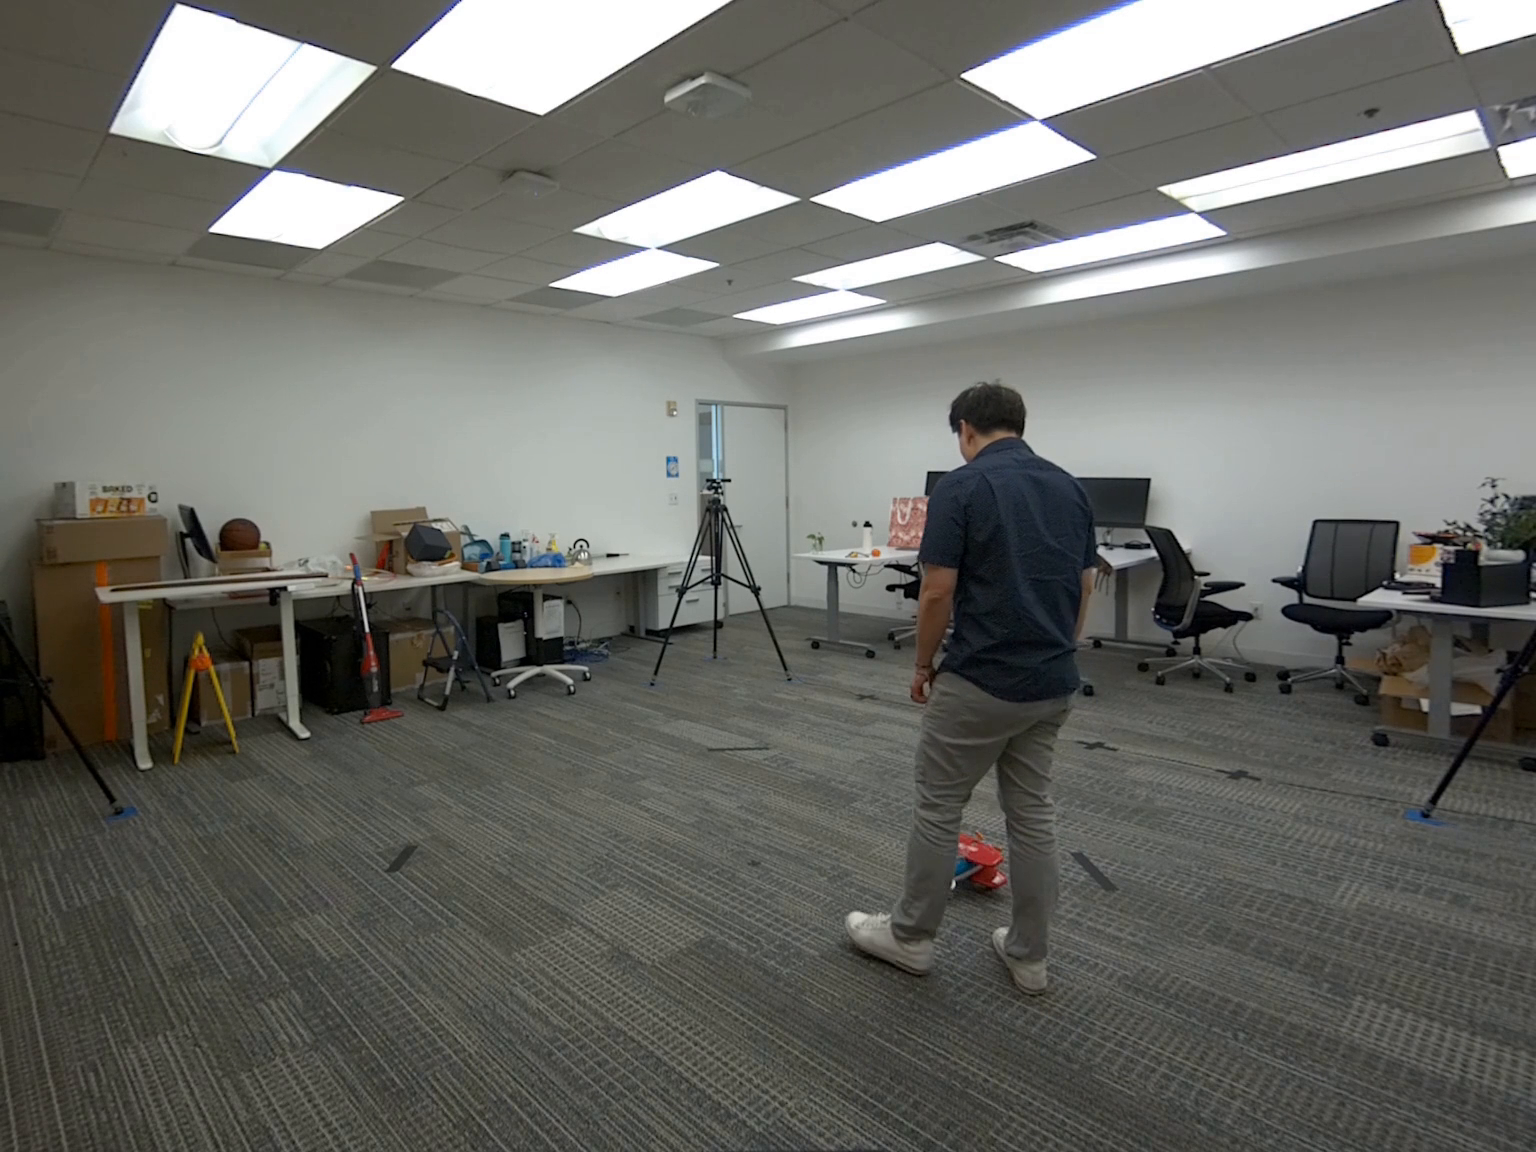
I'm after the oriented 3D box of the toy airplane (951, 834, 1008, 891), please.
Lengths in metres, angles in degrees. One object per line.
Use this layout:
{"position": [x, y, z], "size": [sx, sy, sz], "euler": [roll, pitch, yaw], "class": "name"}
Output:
{"position": [0.677, 0.986, 2.863], "size": [0.258, 0.156, 0.253], "euler": [3, 7, 31], "class": "toy airplane"}
